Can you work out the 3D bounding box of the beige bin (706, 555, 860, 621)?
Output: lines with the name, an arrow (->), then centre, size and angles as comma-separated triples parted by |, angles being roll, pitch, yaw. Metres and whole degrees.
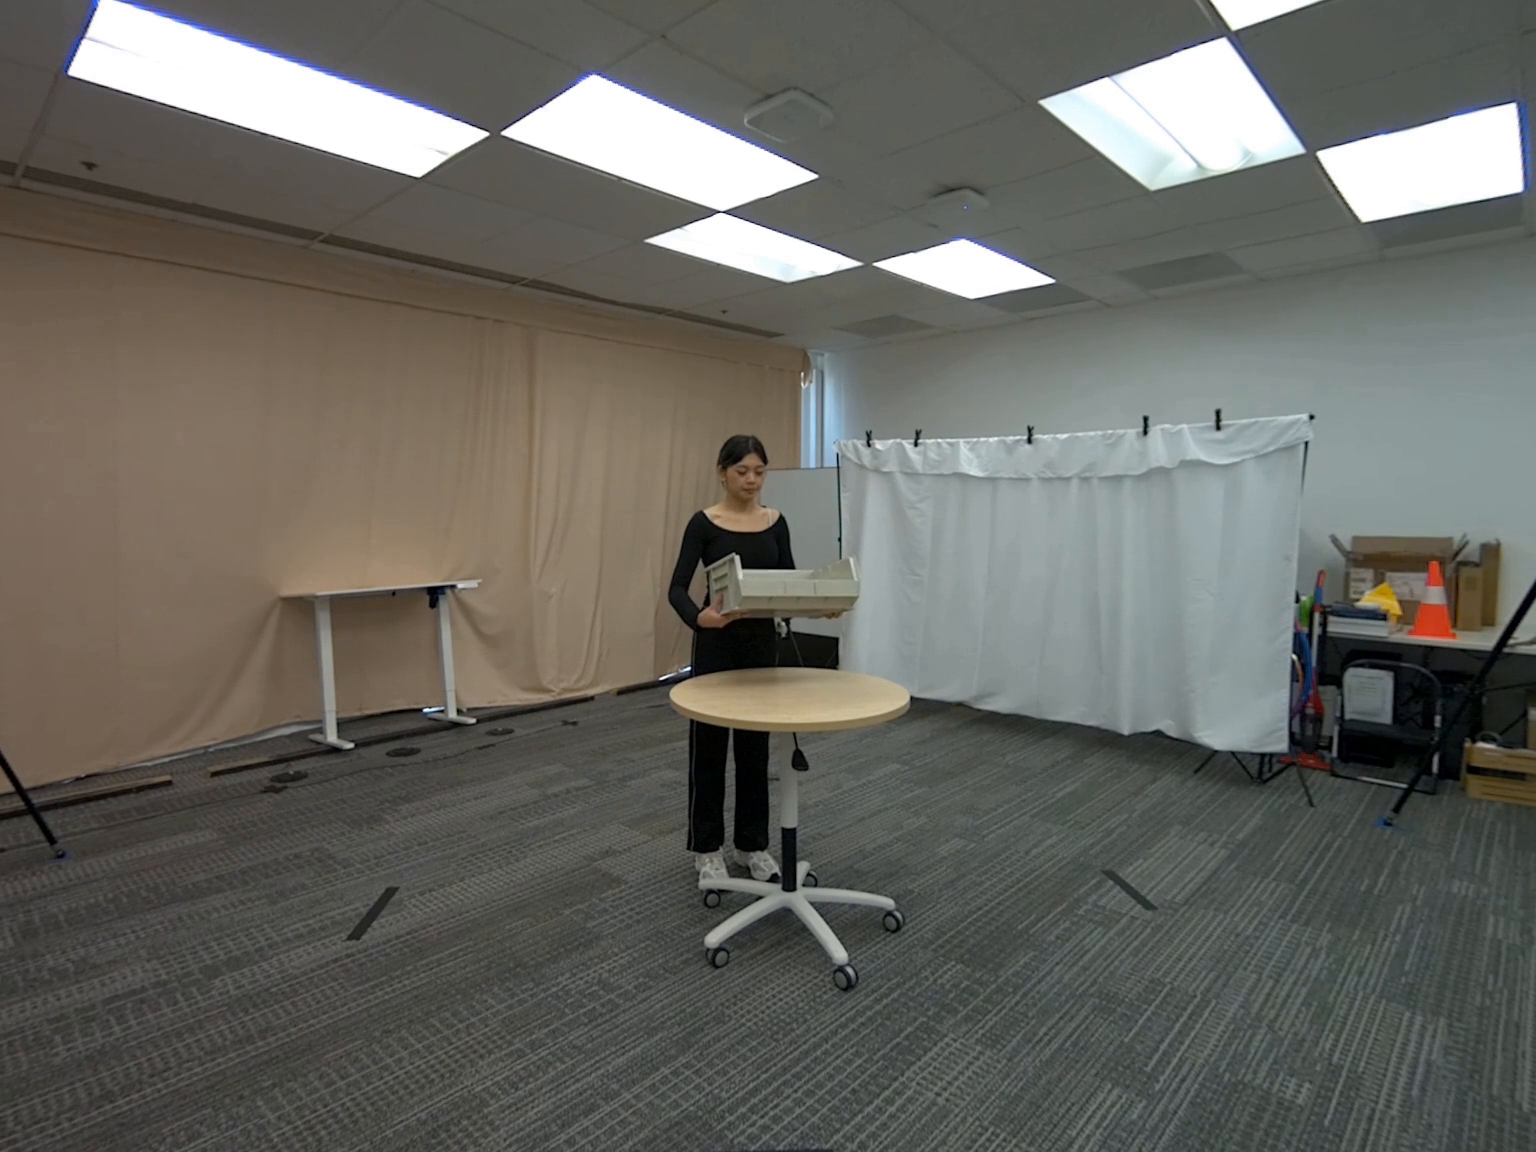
beige bin -> 0.044, 0.043, 2.827 | 0.414, 0.190, 0.382 | 0, -10, -19
